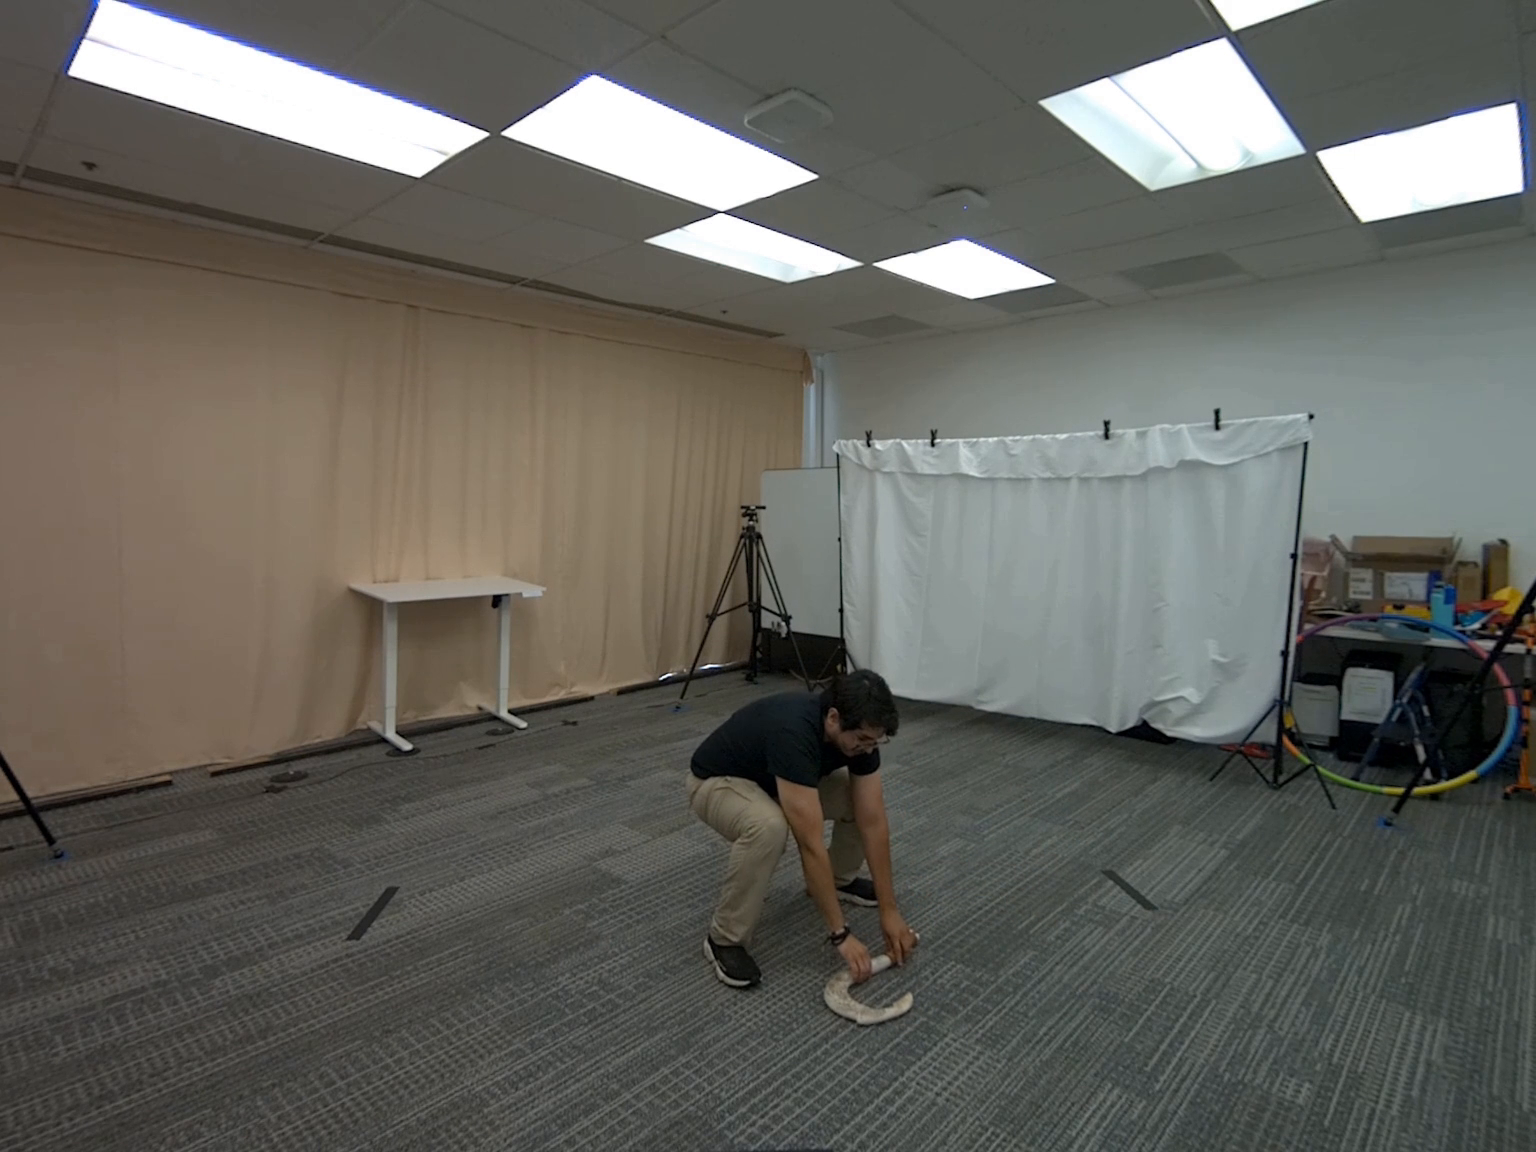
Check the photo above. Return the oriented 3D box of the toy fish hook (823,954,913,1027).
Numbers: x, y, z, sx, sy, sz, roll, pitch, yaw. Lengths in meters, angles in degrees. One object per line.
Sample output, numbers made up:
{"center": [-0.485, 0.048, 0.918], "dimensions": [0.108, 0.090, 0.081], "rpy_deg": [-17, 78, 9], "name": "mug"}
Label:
{"center": [0.365, 1.170, 2.461], "dimensions": [0.232, 0.048, 0.492], "rpy_deg": [8, 10, 38], "name": "toy fish hook"}
